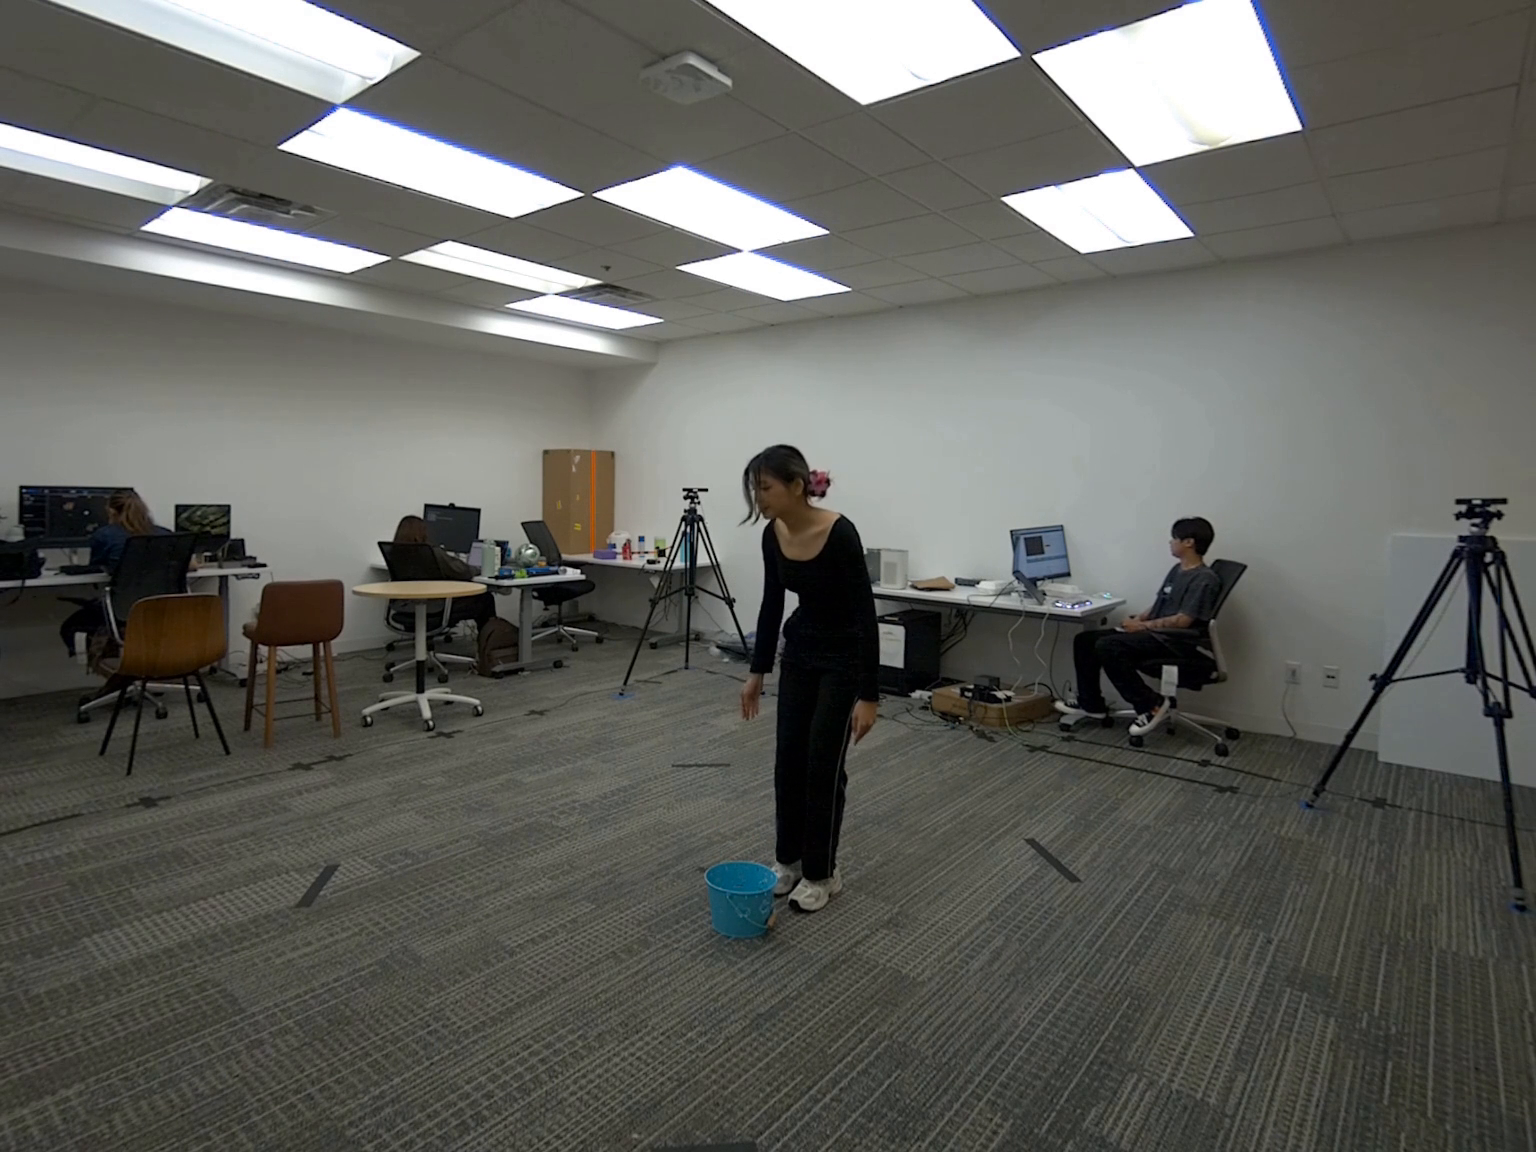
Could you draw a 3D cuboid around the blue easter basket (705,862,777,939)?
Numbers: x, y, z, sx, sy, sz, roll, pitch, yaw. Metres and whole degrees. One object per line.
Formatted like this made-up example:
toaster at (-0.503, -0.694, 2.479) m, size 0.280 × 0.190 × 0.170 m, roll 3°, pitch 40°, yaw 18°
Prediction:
blue easter basket at (-0.096, 1.033, 2.724) m, size 0.243 × 0.155 × 0.245 m, roll 1°, pitch 5°, yaw -2°
